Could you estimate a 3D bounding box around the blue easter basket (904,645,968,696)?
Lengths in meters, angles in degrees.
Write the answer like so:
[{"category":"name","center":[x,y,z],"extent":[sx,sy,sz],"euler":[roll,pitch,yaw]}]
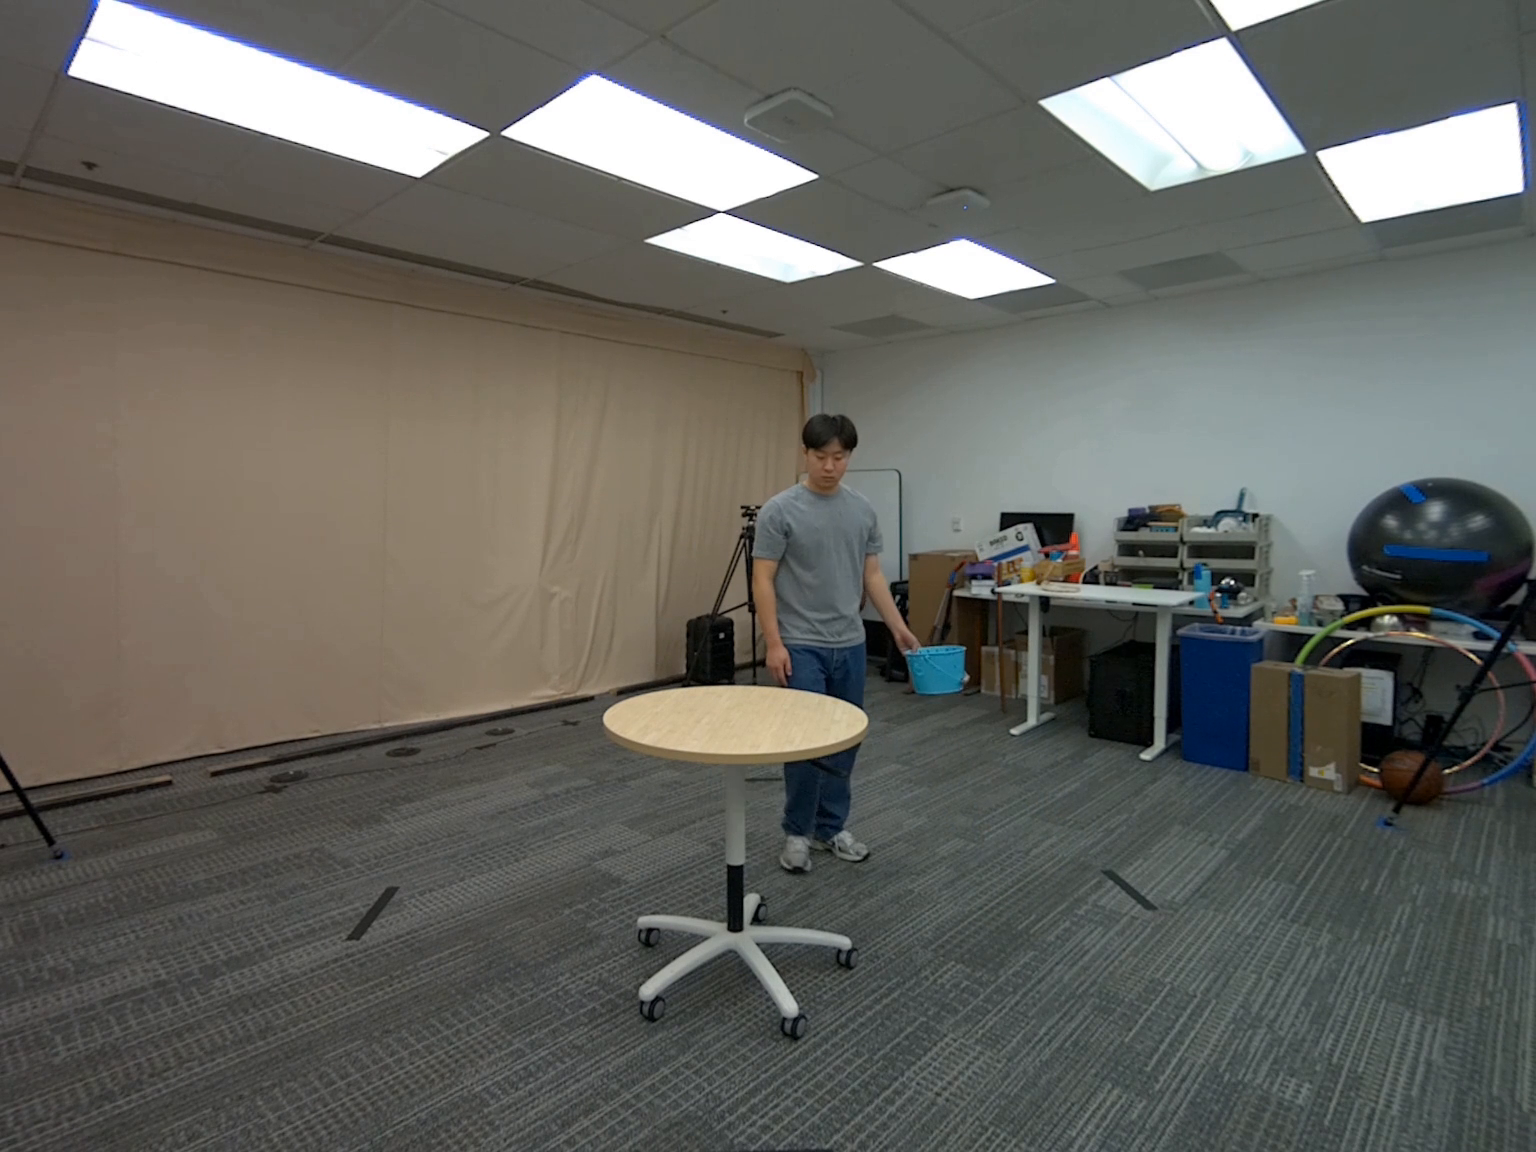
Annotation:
[{"category":"blue easter basket","center":[0.654,0.360,3.224],"extent":[0.243,0.156,0.243],"euler":[-6,-1,-2]}]
